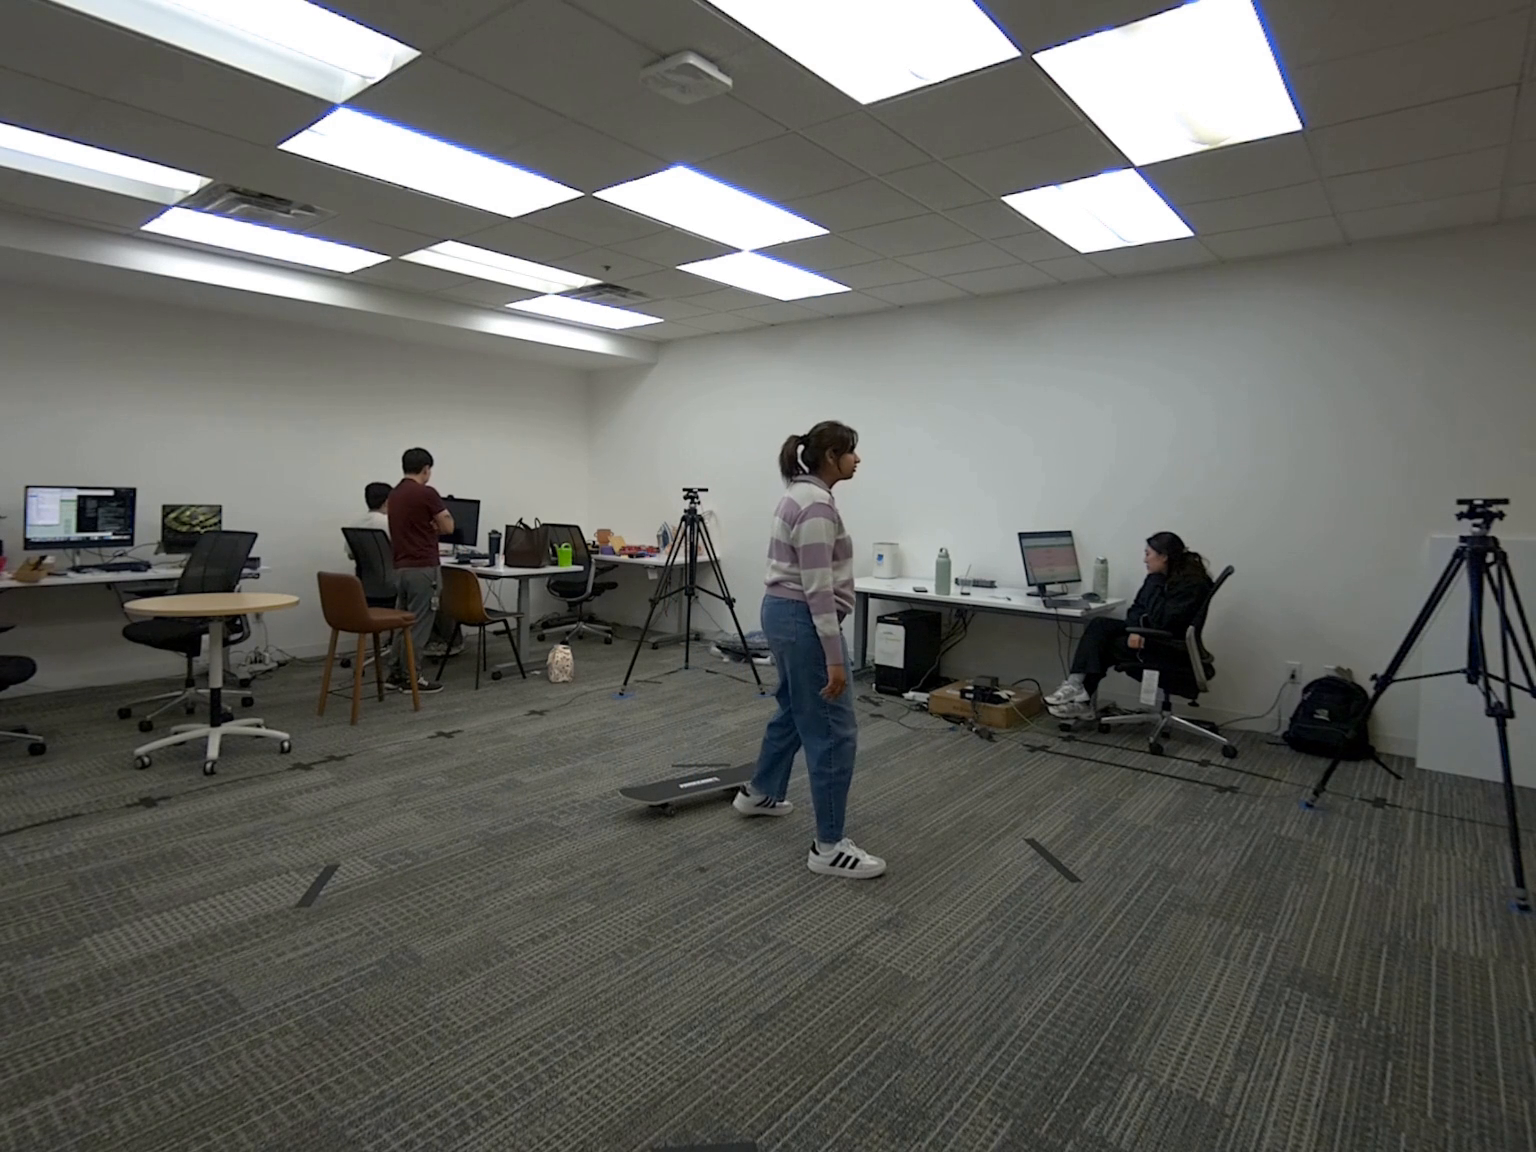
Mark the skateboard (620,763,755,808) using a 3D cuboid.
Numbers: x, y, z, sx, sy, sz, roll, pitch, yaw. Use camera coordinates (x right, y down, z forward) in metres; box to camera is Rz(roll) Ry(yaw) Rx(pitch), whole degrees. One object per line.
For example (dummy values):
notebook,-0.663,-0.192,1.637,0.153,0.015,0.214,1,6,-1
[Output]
skateboard,-0.314,0.946,3.777,0.763,0.110,0.200,-3,7,-35
